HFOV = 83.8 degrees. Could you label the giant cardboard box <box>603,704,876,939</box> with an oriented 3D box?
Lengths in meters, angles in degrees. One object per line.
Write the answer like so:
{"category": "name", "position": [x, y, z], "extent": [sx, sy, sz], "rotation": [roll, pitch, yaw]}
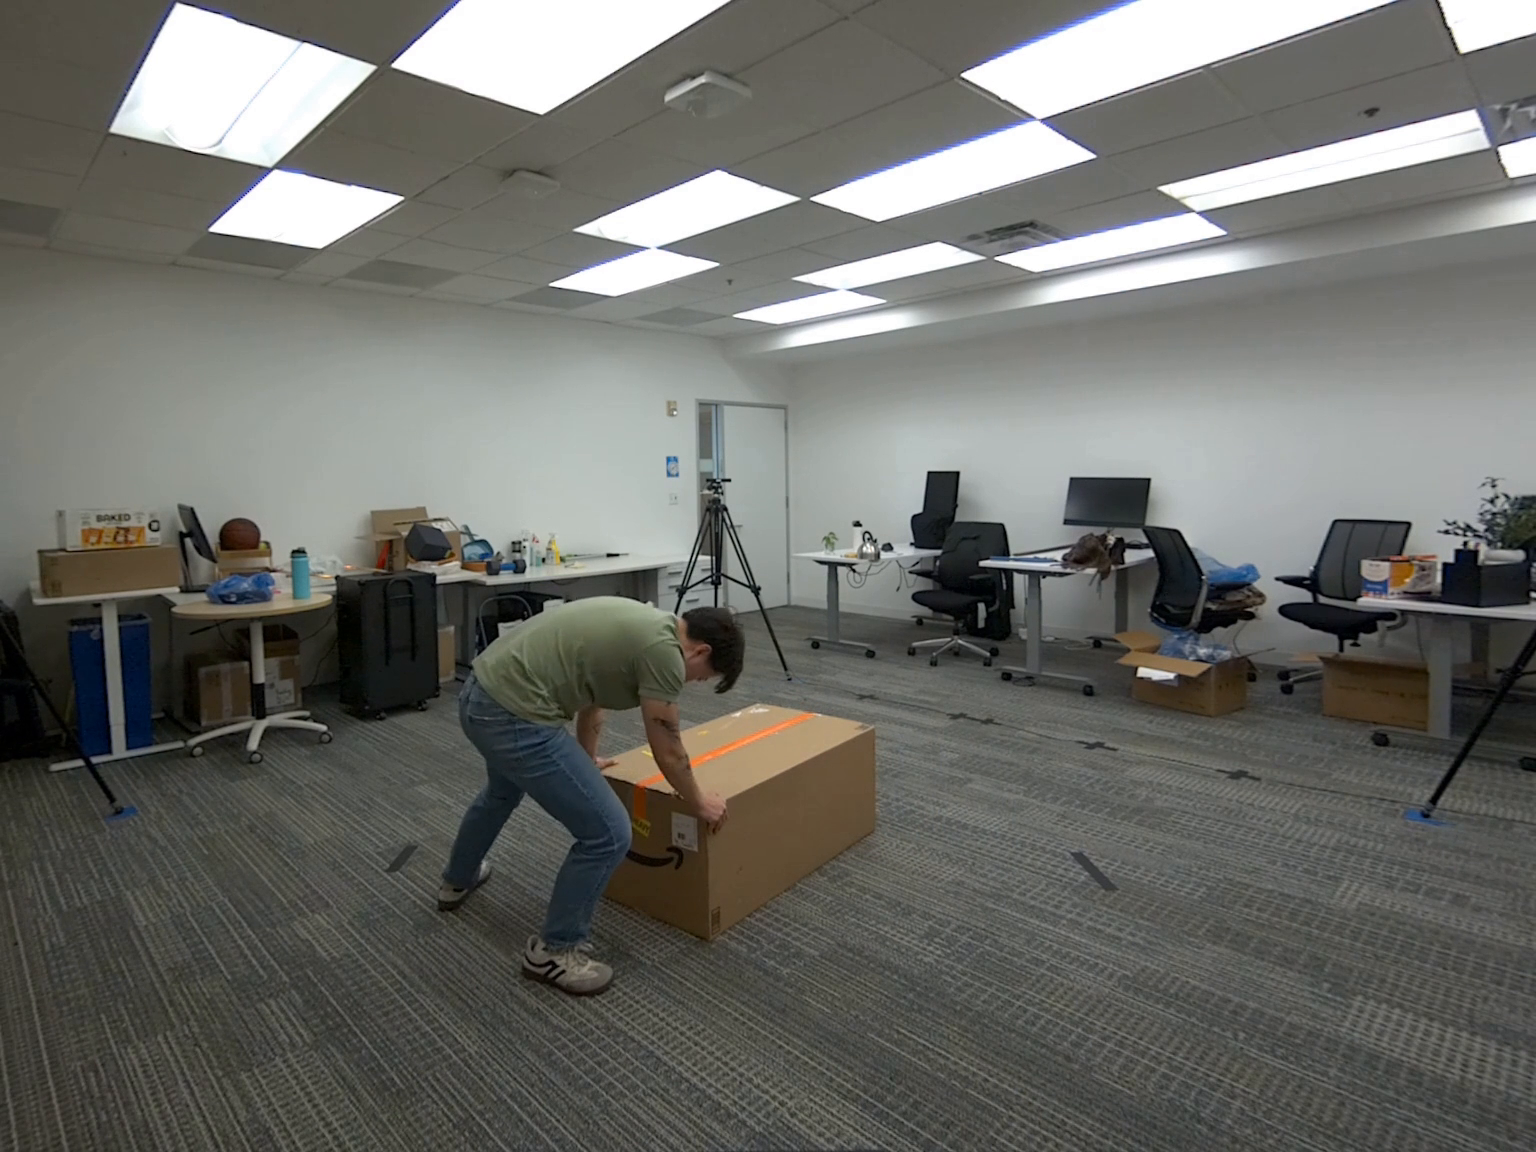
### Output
{"category": "giant cardboard box", "position": [-0.104, 0.829, 3.144], "extent": [0.594, 0.424, 1.001], "rotation": [2, 7, 37]}
